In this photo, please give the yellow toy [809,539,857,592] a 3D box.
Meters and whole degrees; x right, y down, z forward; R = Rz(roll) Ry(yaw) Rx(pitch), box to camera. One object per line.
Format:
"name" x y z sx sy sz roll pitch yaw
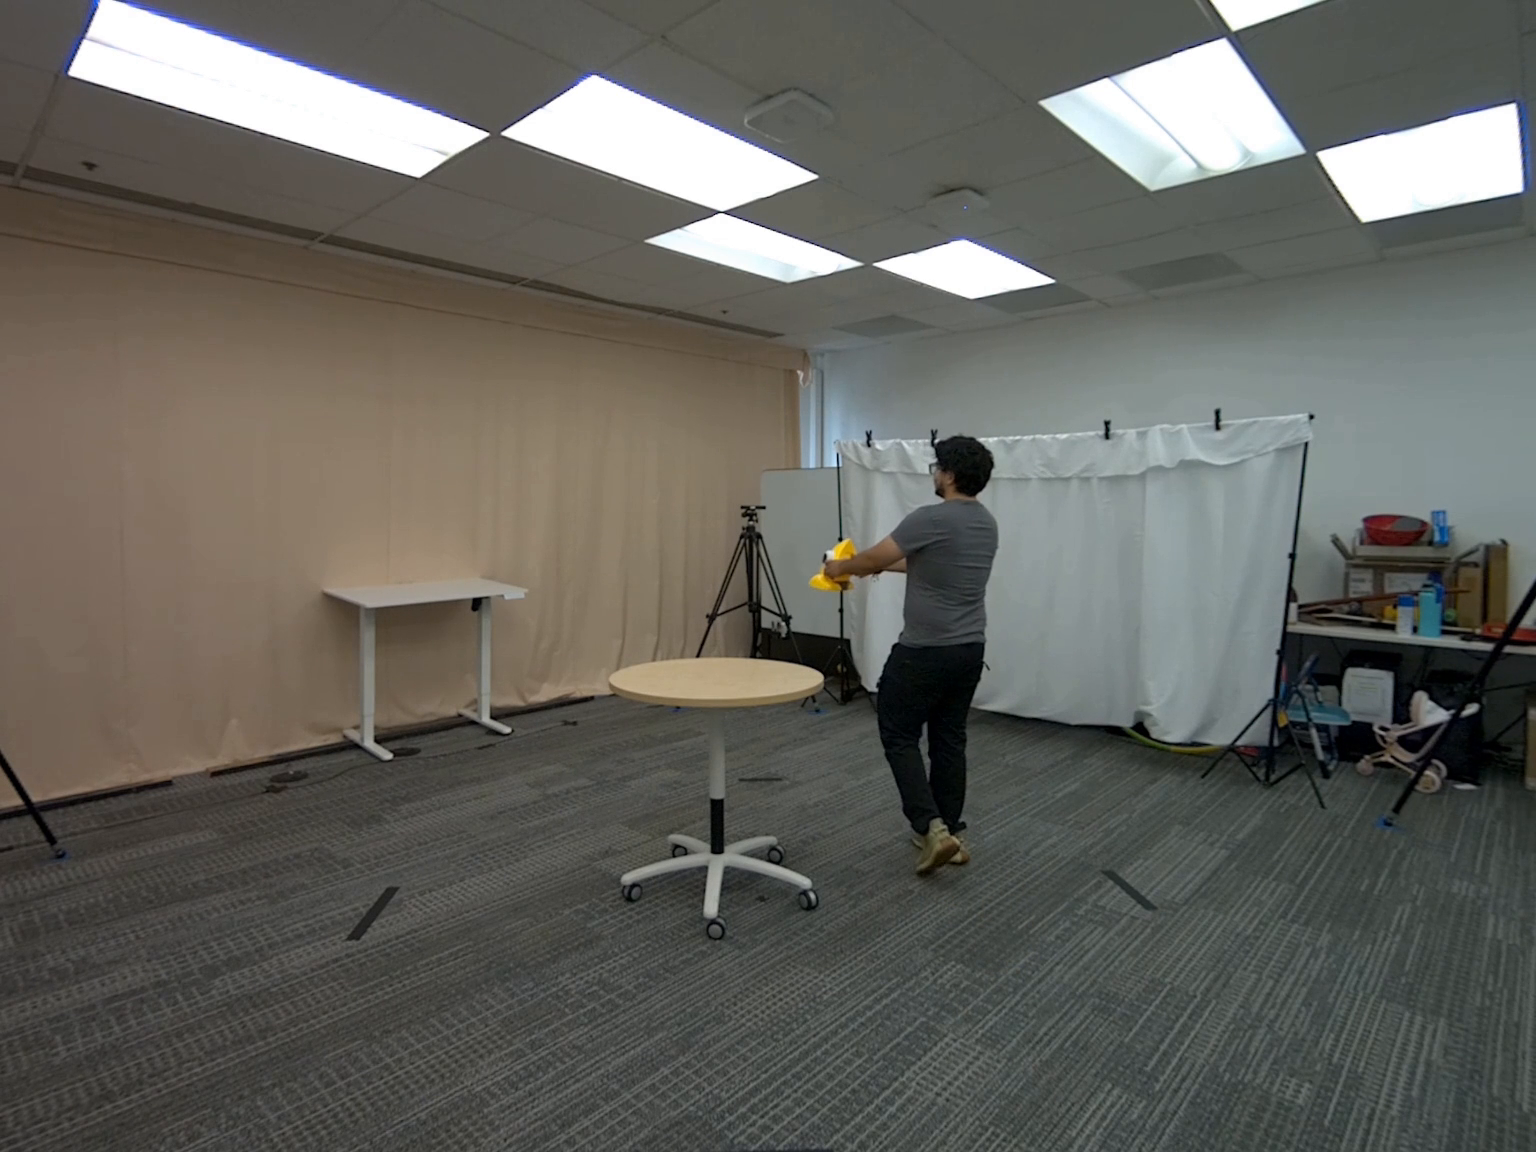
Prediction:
"yellow toy" 0.305 -0.060 3.747 0.198 0.229 0.200 -2 12 -43
